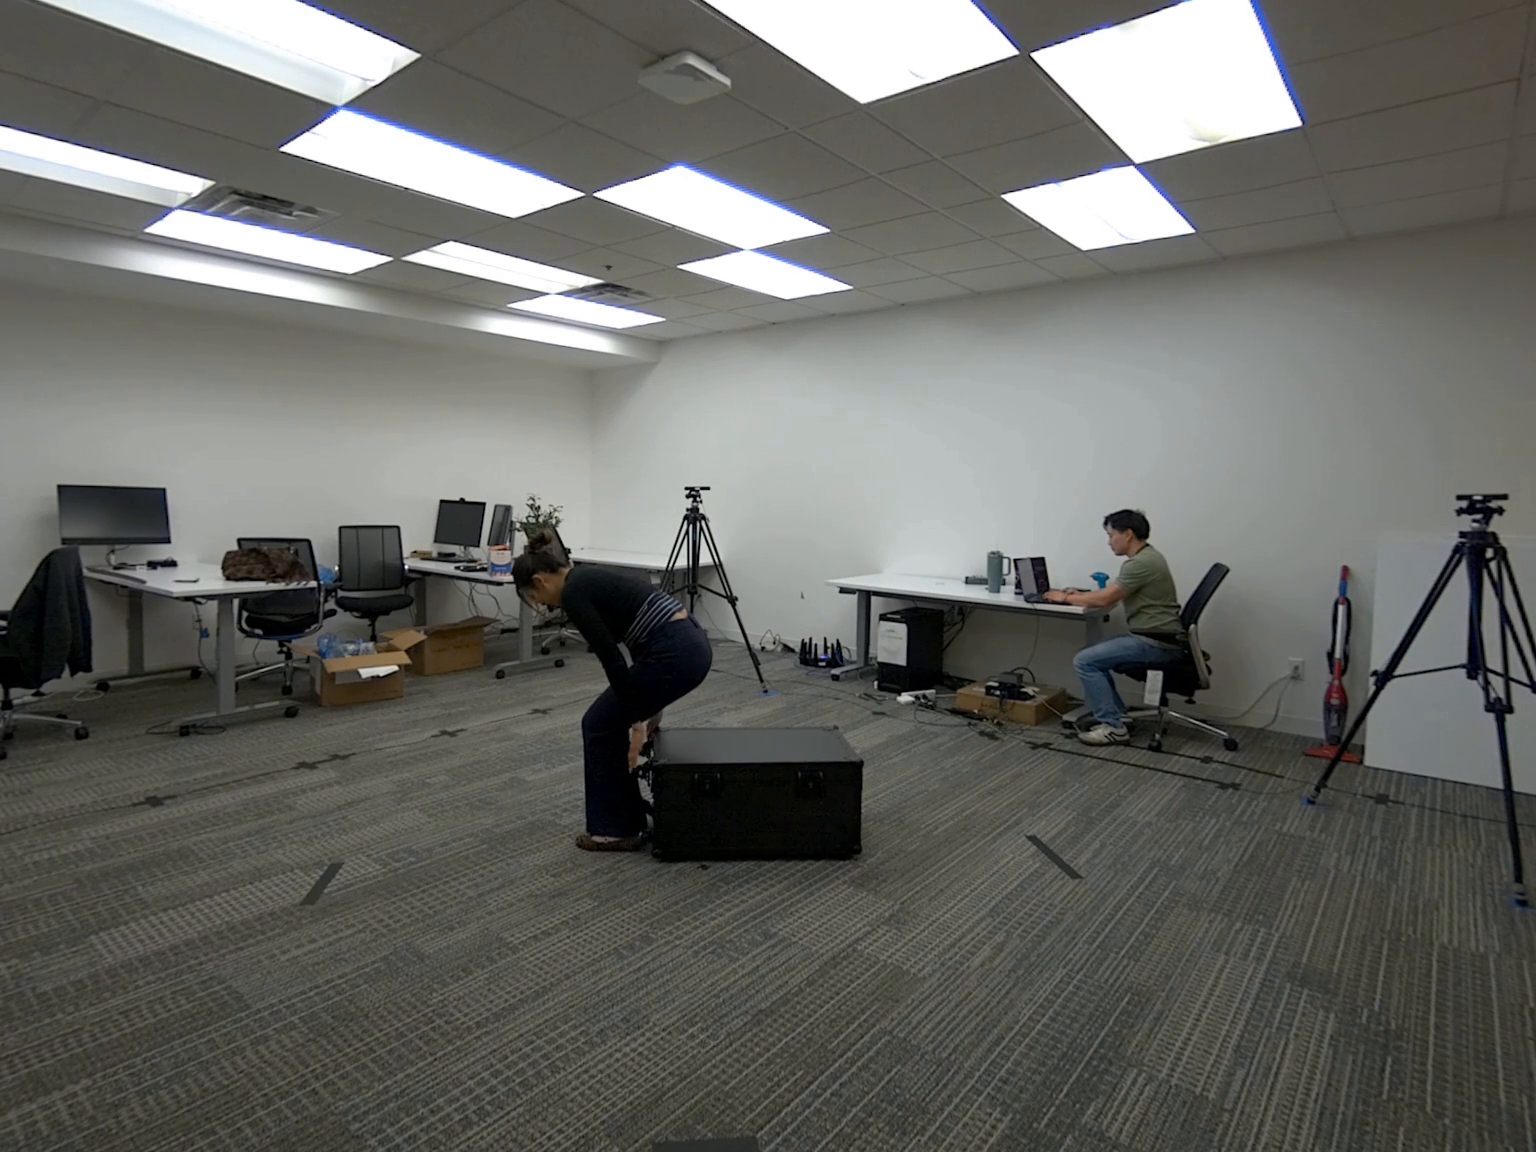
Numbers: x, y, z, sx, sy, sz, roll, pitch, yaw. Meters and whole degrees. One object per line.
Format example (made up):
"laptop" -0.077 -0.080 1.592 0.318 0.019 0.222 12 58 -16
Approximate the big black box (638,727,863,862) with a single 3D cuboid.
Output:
"big black box" -0.105 0.845 3.388 0.857 0.395 0.526 0 5 -5
